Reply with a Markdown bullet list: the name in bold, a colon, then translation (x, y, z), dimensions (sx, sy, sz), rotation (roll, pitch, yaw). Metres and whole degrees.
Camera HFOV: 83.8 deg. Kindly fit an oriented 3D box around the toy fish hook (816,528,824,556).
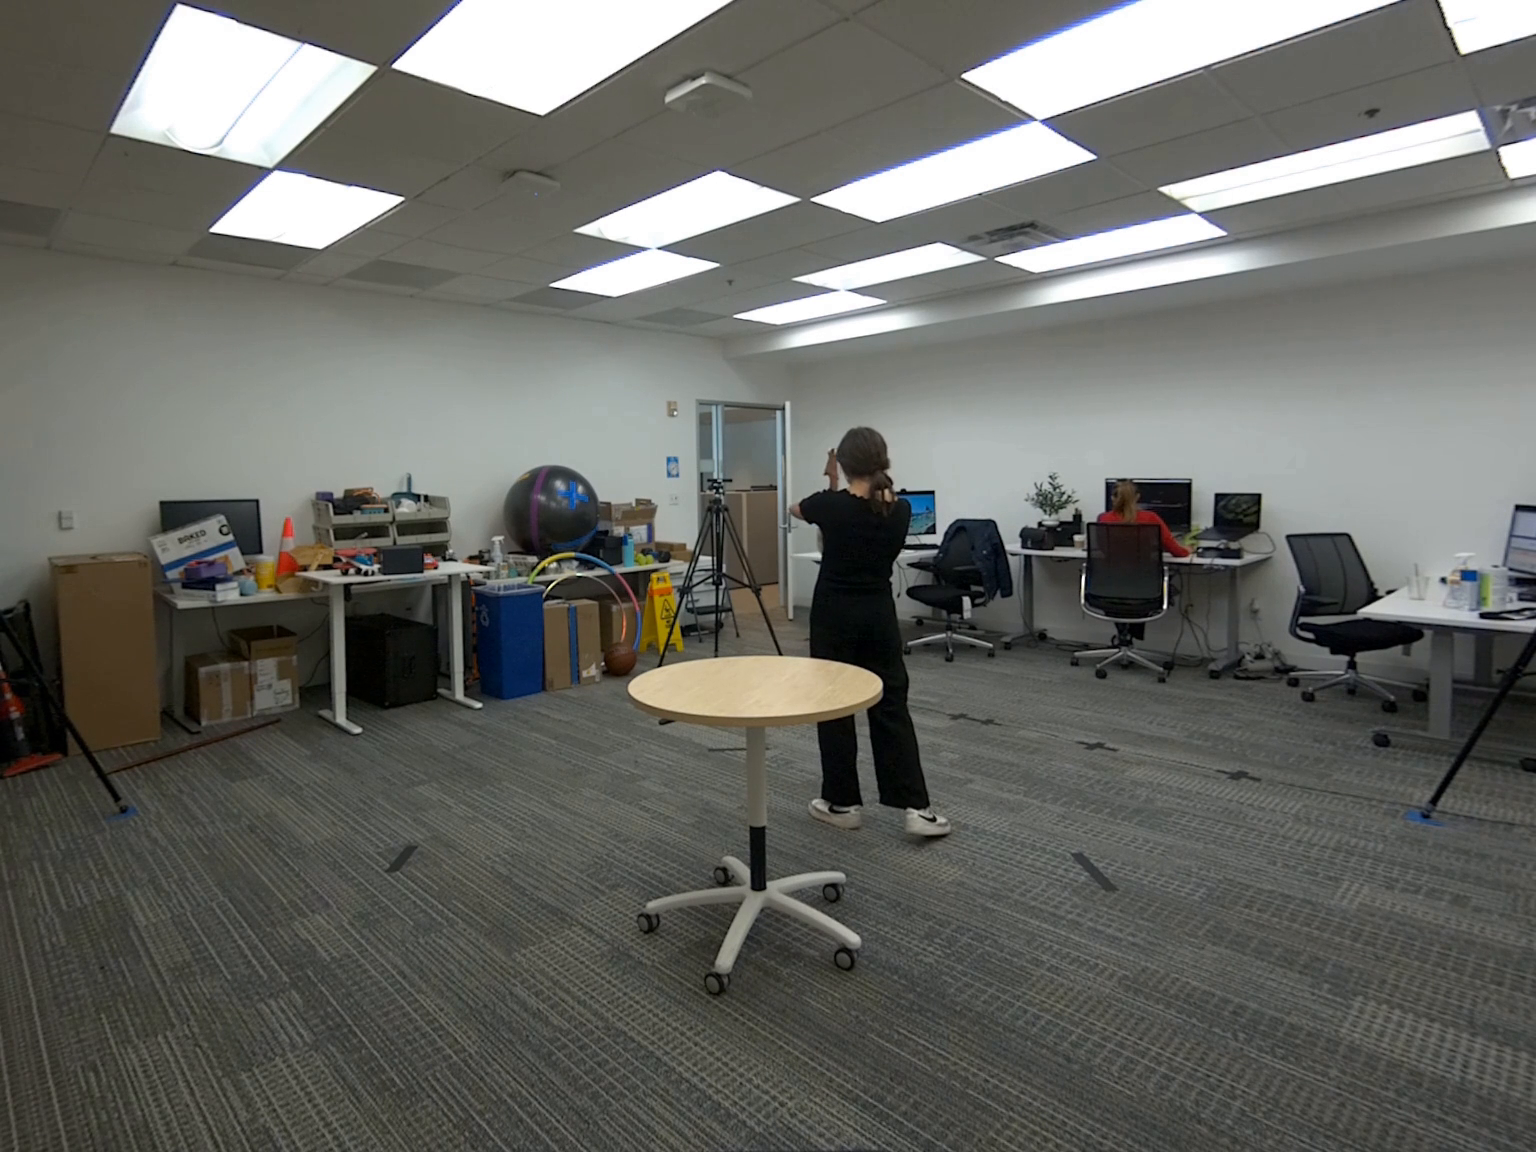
- **toy fish hook**: translation (0.332, -0.312, 3.771), dimensions (0.228, 0.503, 0.048), rotation (4, 8, 15)
